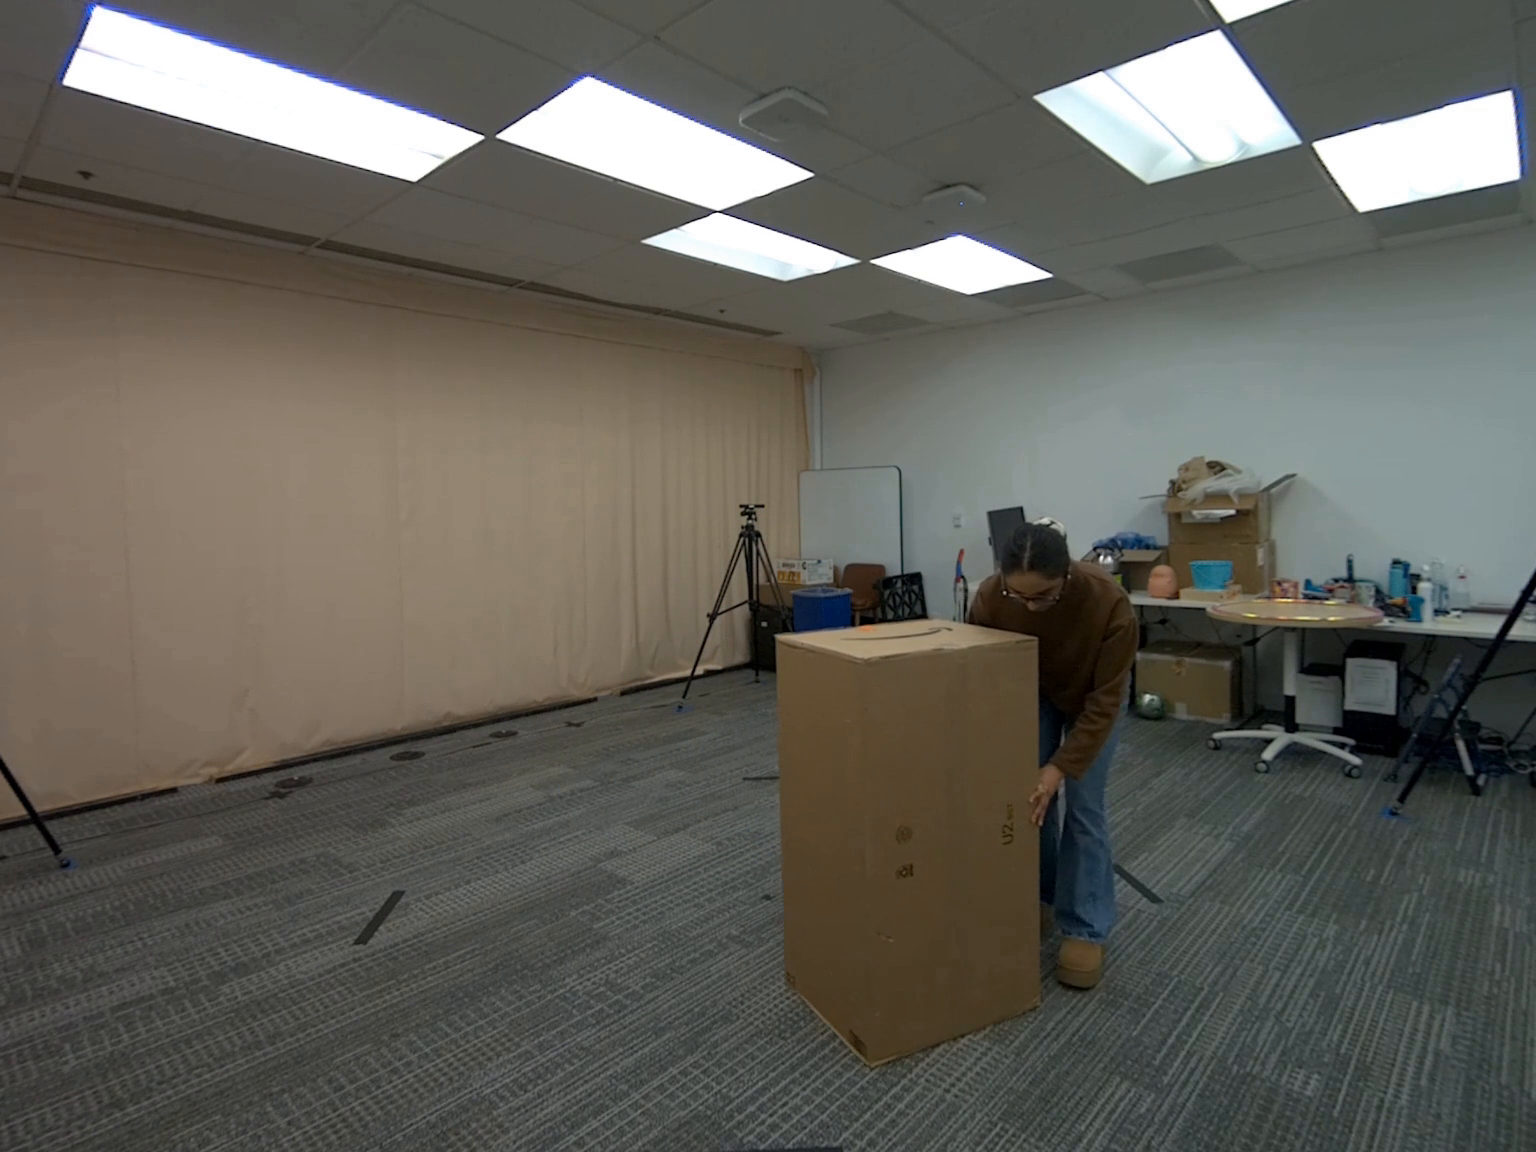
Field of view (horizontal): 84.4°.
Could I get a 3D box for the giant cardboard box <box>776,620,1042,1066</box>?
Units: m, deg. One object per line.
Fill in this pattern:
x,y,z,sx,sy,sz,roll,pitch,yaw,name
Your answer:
0.392,0.682,2.353,0.563,1.023,0.438,-4,4,-27,giant cardboard box
